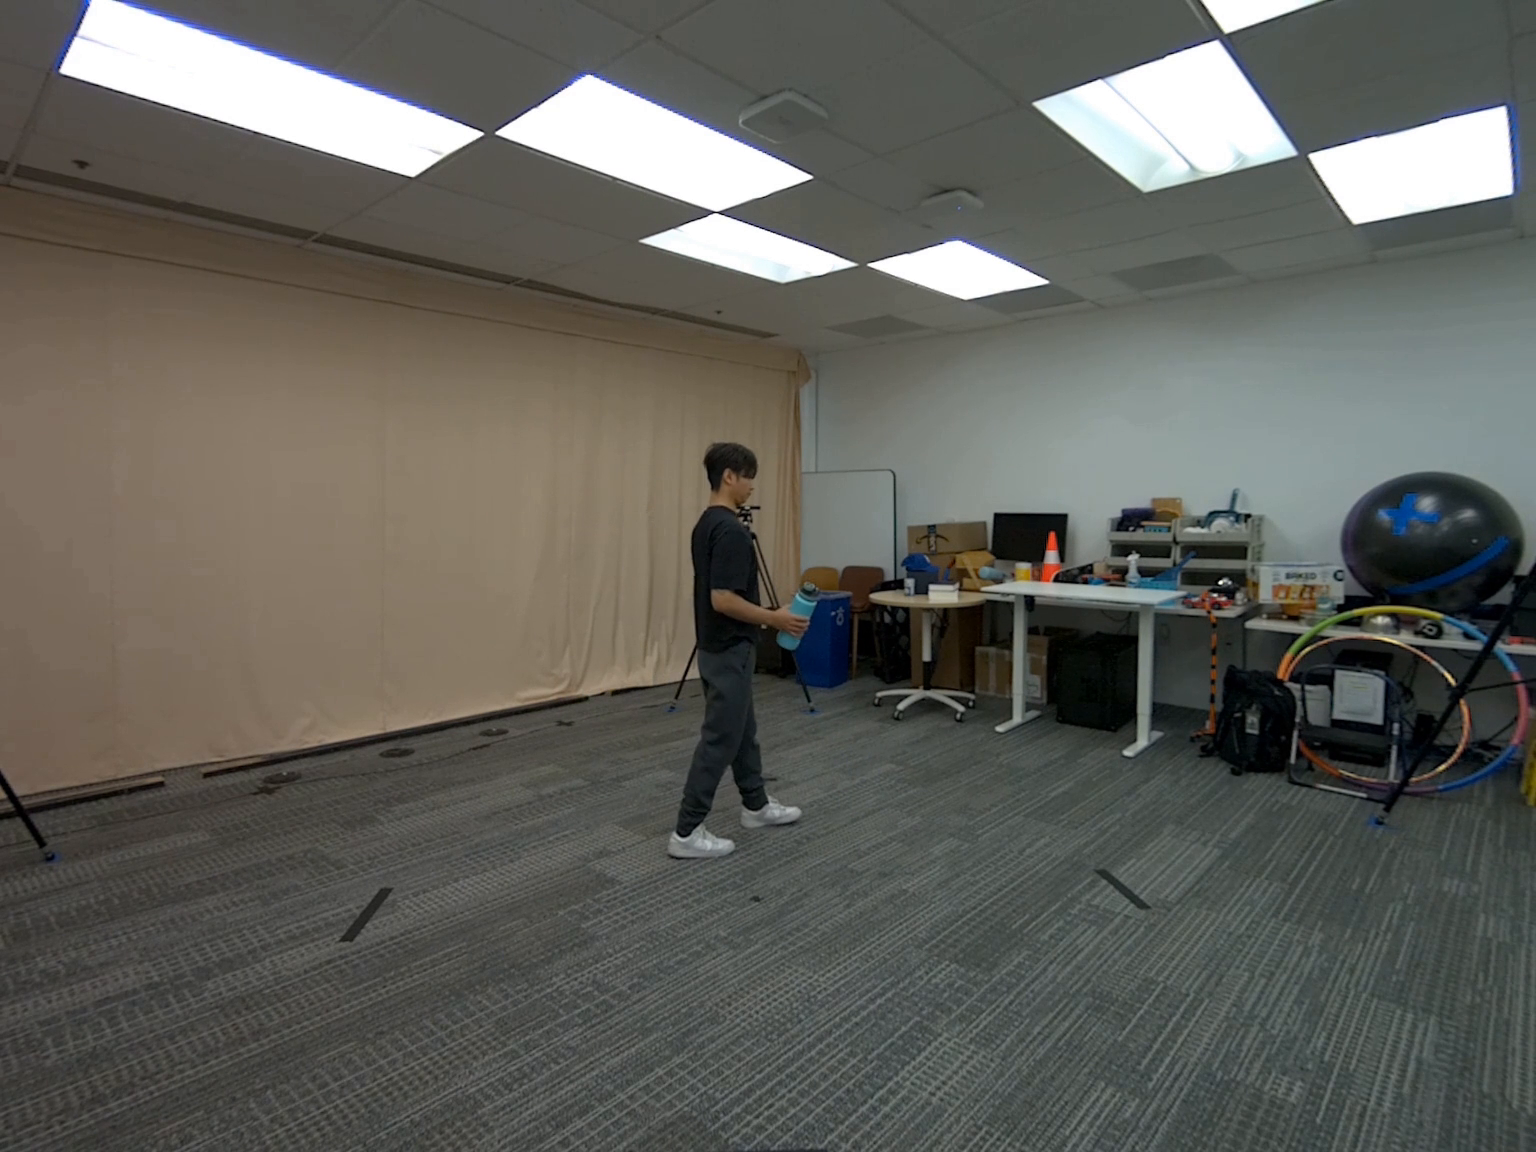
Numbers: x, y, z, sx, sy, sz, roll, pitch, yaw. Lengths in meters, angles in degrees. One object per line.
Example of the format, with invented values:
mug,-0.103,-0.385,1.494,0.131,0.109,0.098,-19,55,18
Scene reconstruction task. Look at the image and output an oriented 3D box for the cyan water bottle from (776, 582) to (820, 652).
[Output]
cyan water bottle,0.123,0.151,3.346,0.091,0.282,0.093,19,21,-10
